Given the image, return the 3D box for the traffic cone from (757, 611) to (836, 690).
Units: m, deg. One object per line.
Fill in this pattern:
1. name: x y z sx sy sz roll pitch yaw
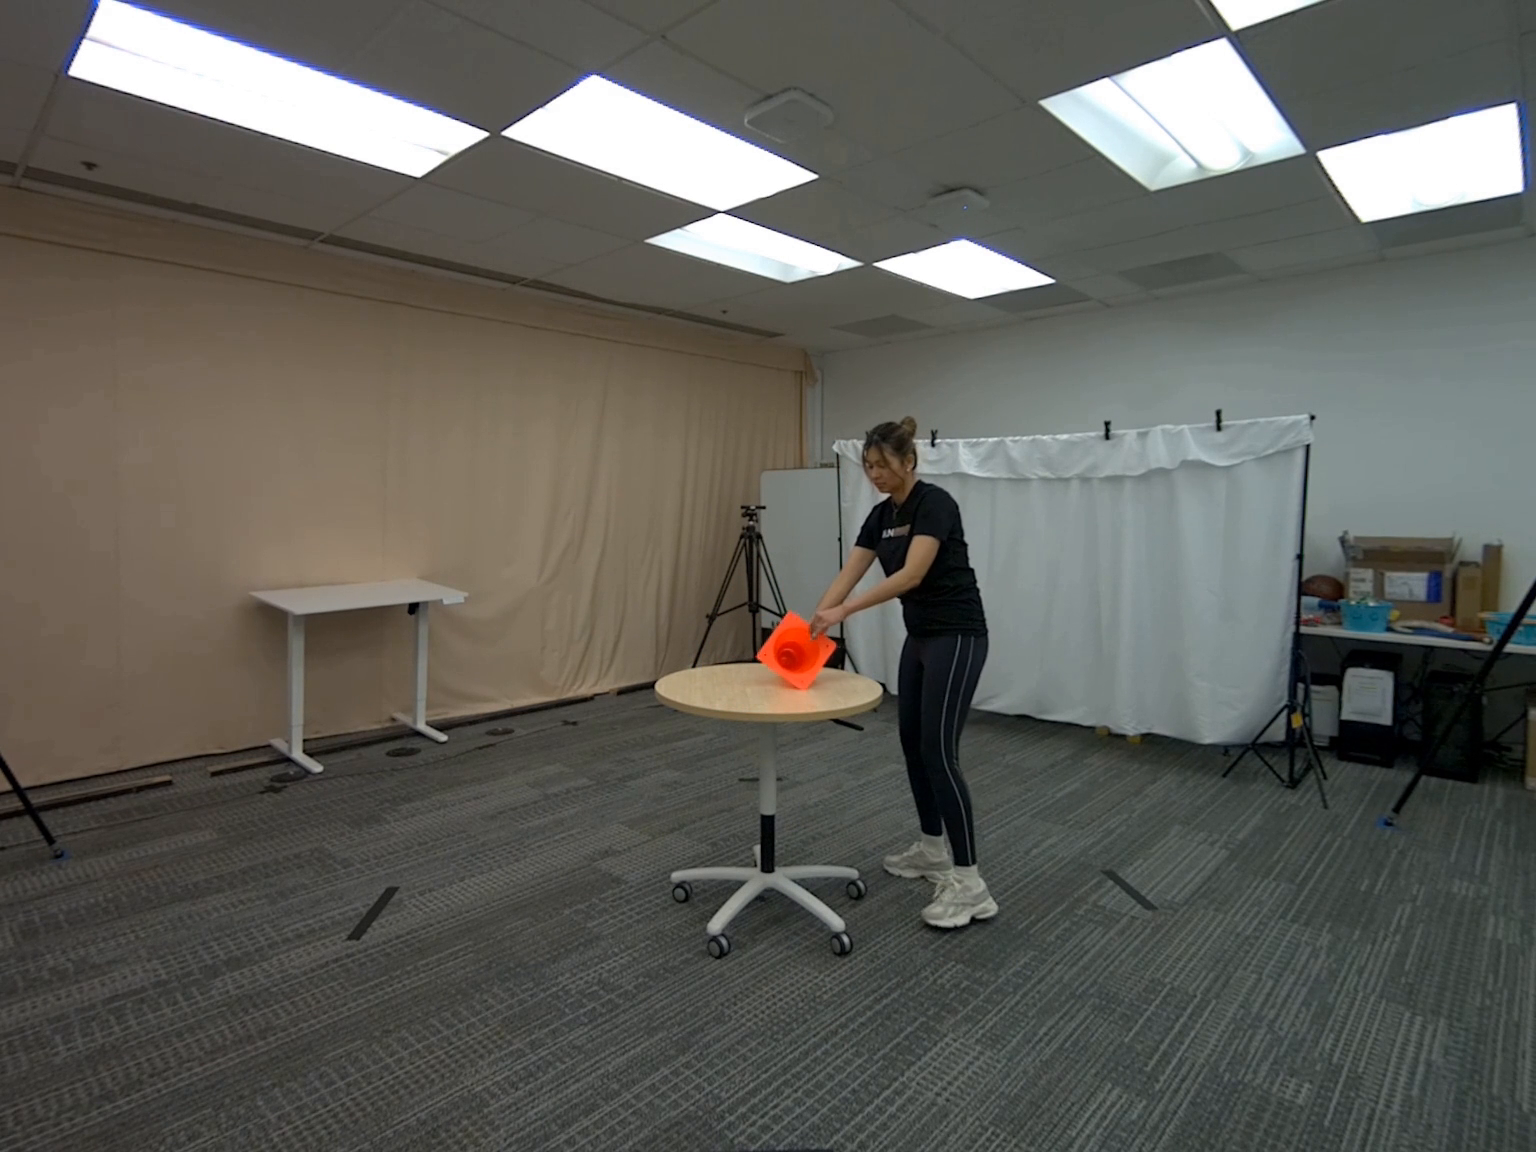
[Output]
1. traffic cone: 0.088 0.290 3.002 0.205 0.204 0.382 42 -13 4
